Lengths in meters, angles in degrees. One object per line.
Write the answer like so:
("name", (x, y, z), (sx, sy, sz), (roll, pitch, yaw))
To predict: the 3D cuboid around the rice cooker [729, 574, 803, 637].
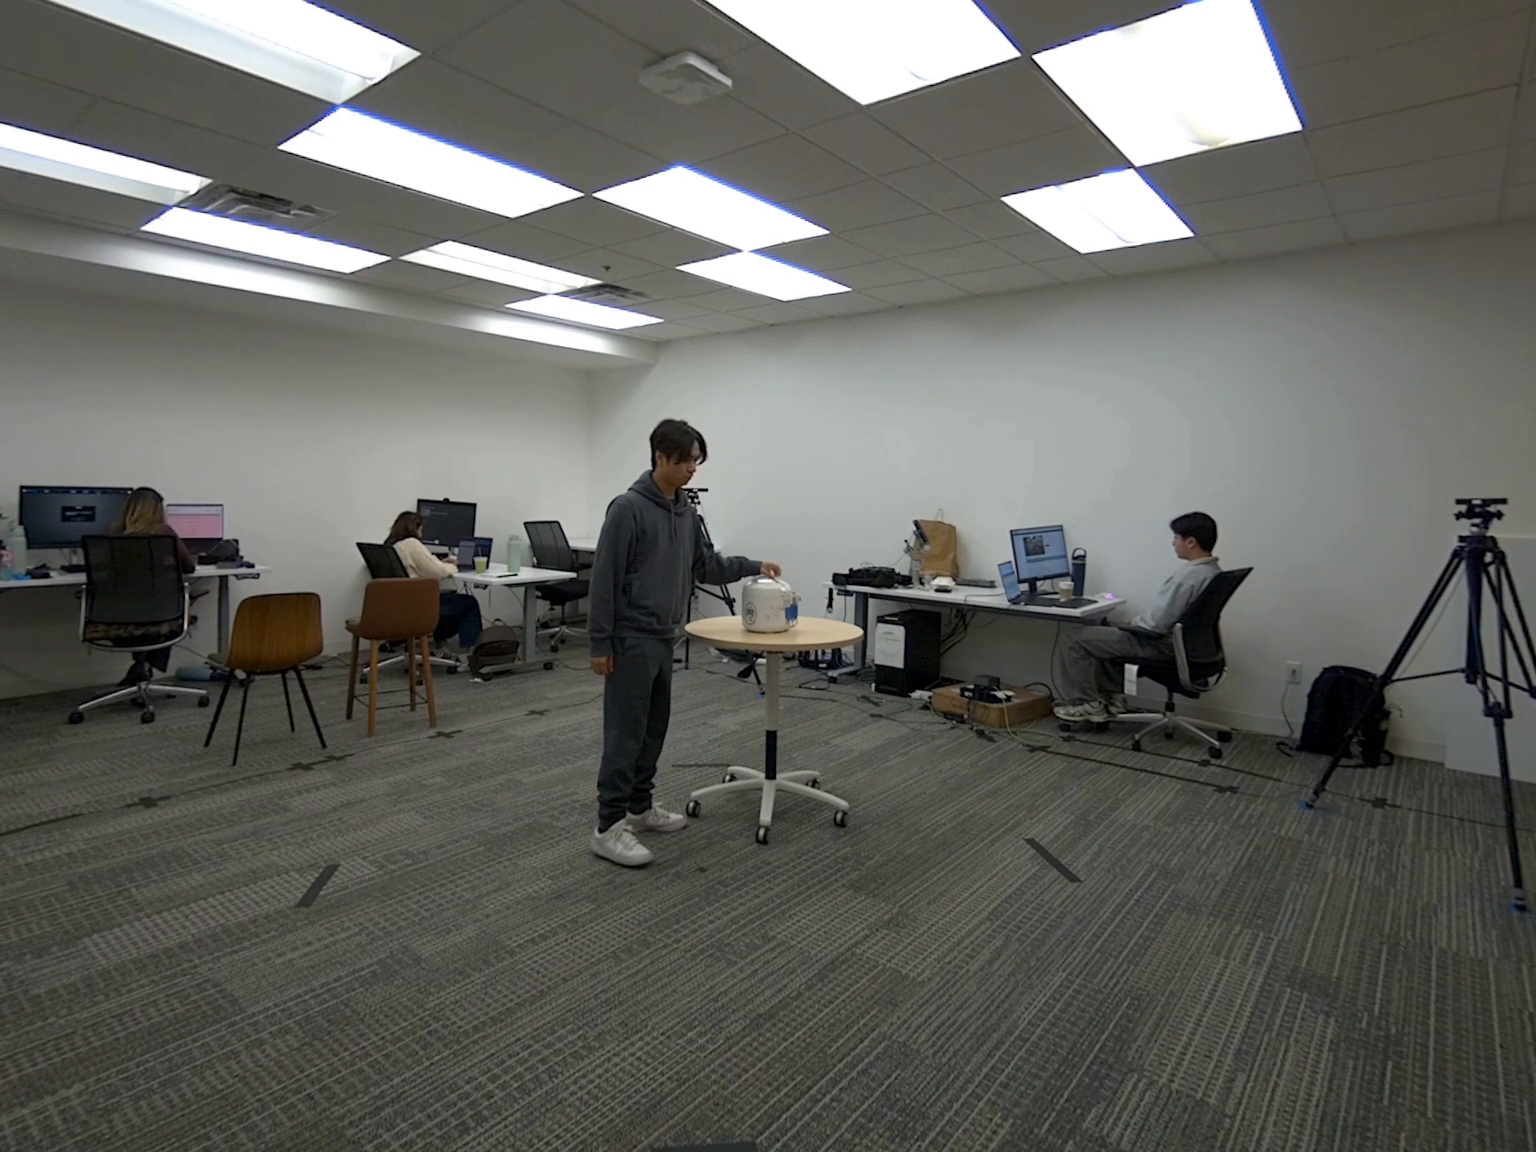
("rice cooker", (-0.011, 0.113, 3.597), (0.228, 0.232, 0.211), (5, 5, 39))
